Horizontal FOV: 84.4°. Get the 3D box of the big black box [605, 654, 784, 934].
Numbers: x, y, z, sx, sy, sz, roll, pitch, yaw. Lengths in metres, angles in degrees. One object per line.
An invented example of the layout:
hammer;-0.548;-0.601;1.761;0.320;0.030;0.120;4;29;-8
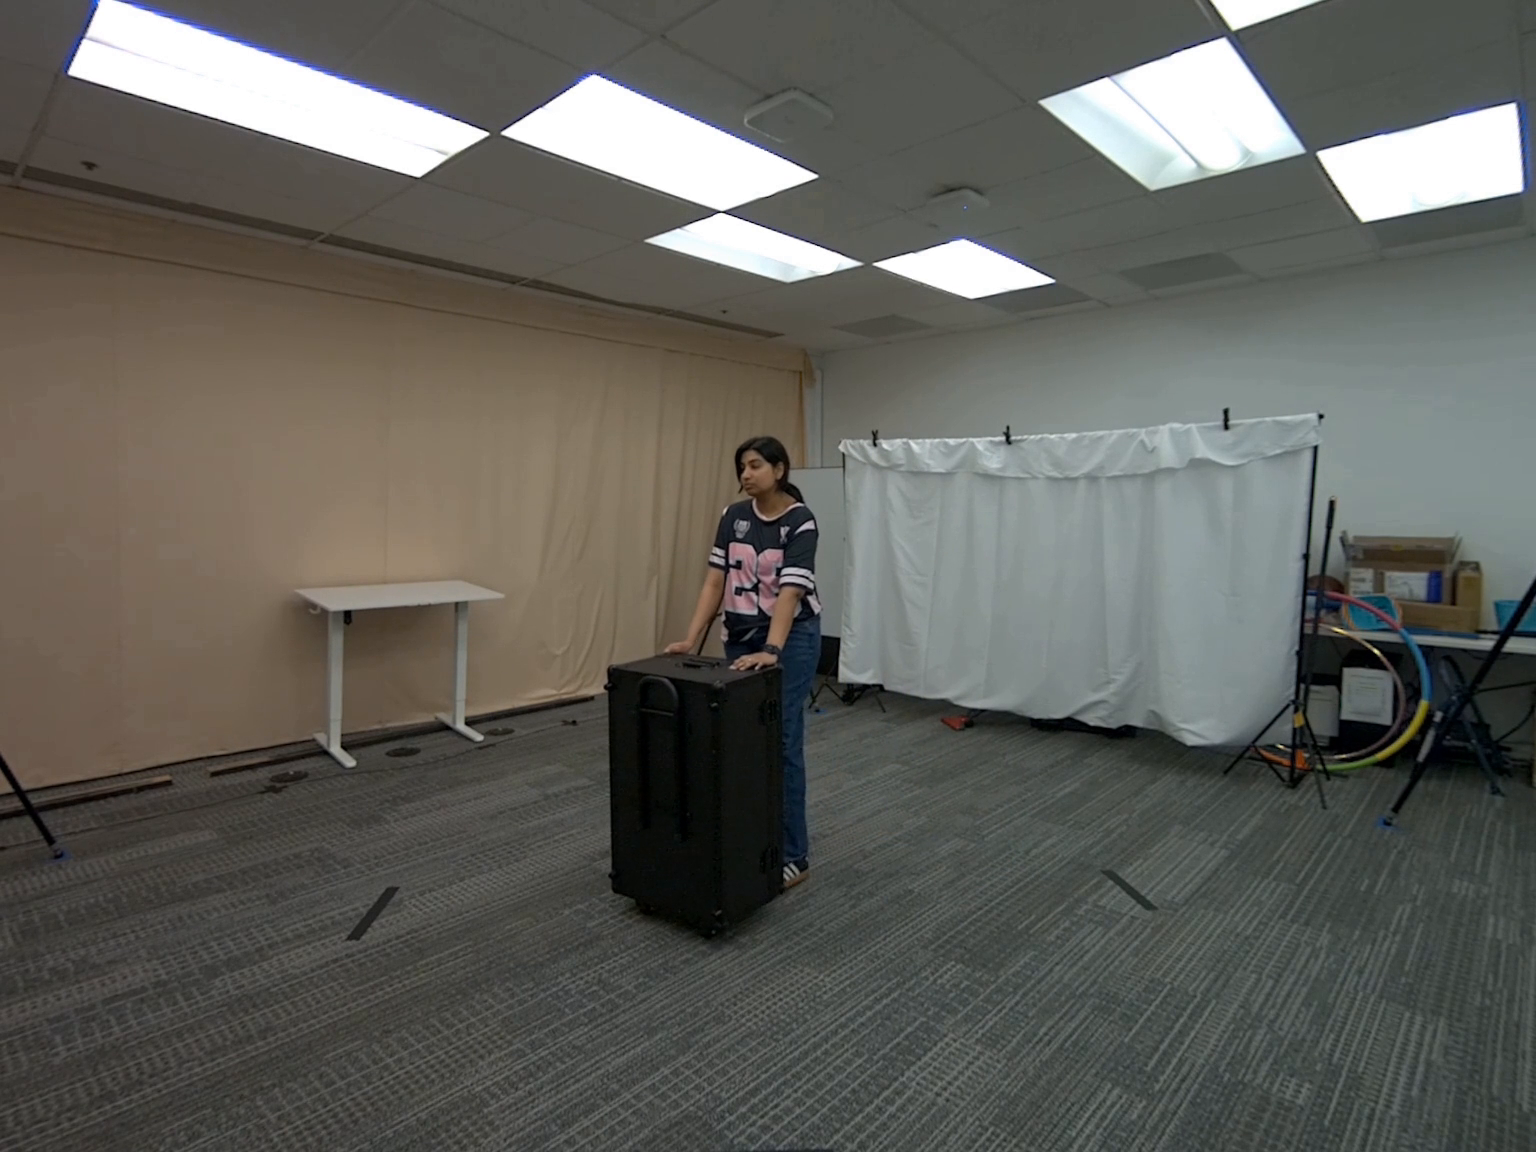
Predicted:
big black box;-0.239;0.734;2.861;0.540;0.866;0.374;2;4;36
